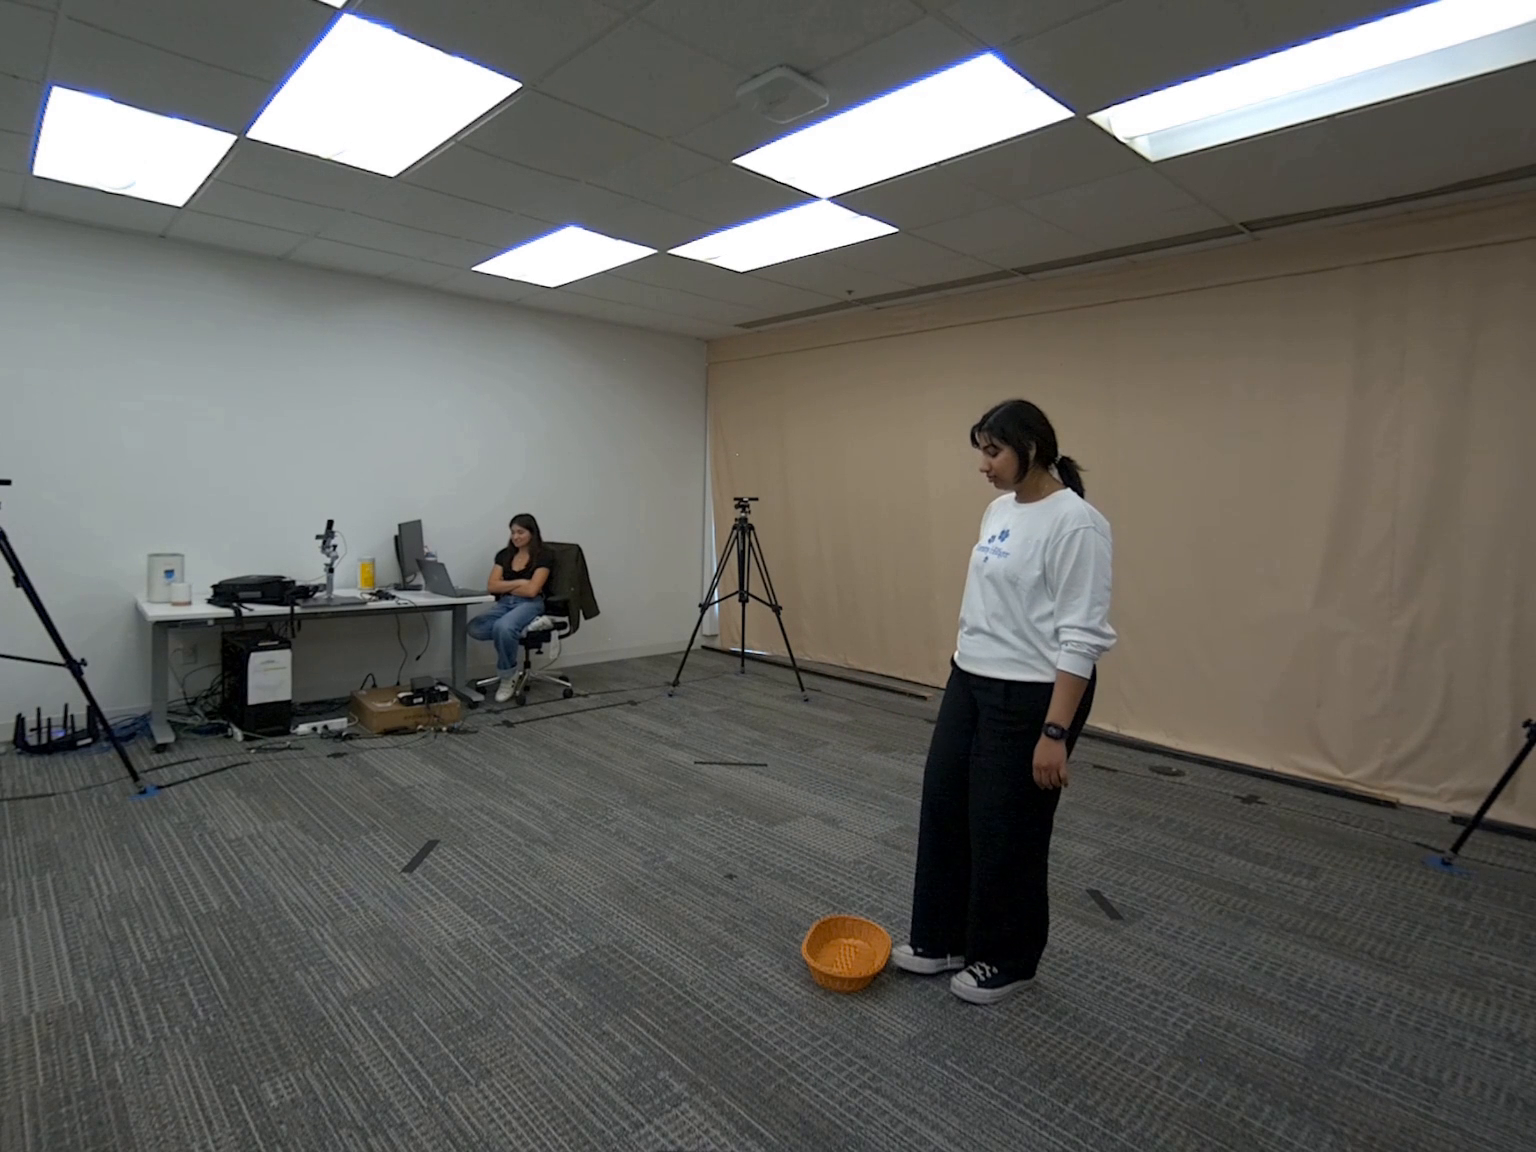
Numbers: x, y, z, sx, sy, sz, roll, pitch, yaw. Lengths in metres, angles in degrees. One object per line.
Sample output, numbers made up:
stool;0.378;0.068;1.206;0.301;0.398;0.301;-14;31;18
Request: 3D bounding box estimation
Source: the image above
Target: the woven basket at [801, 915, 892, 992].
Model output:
woven basket;0.223;1.130;2.521;0.257;0.073;0.345;5;6;22
